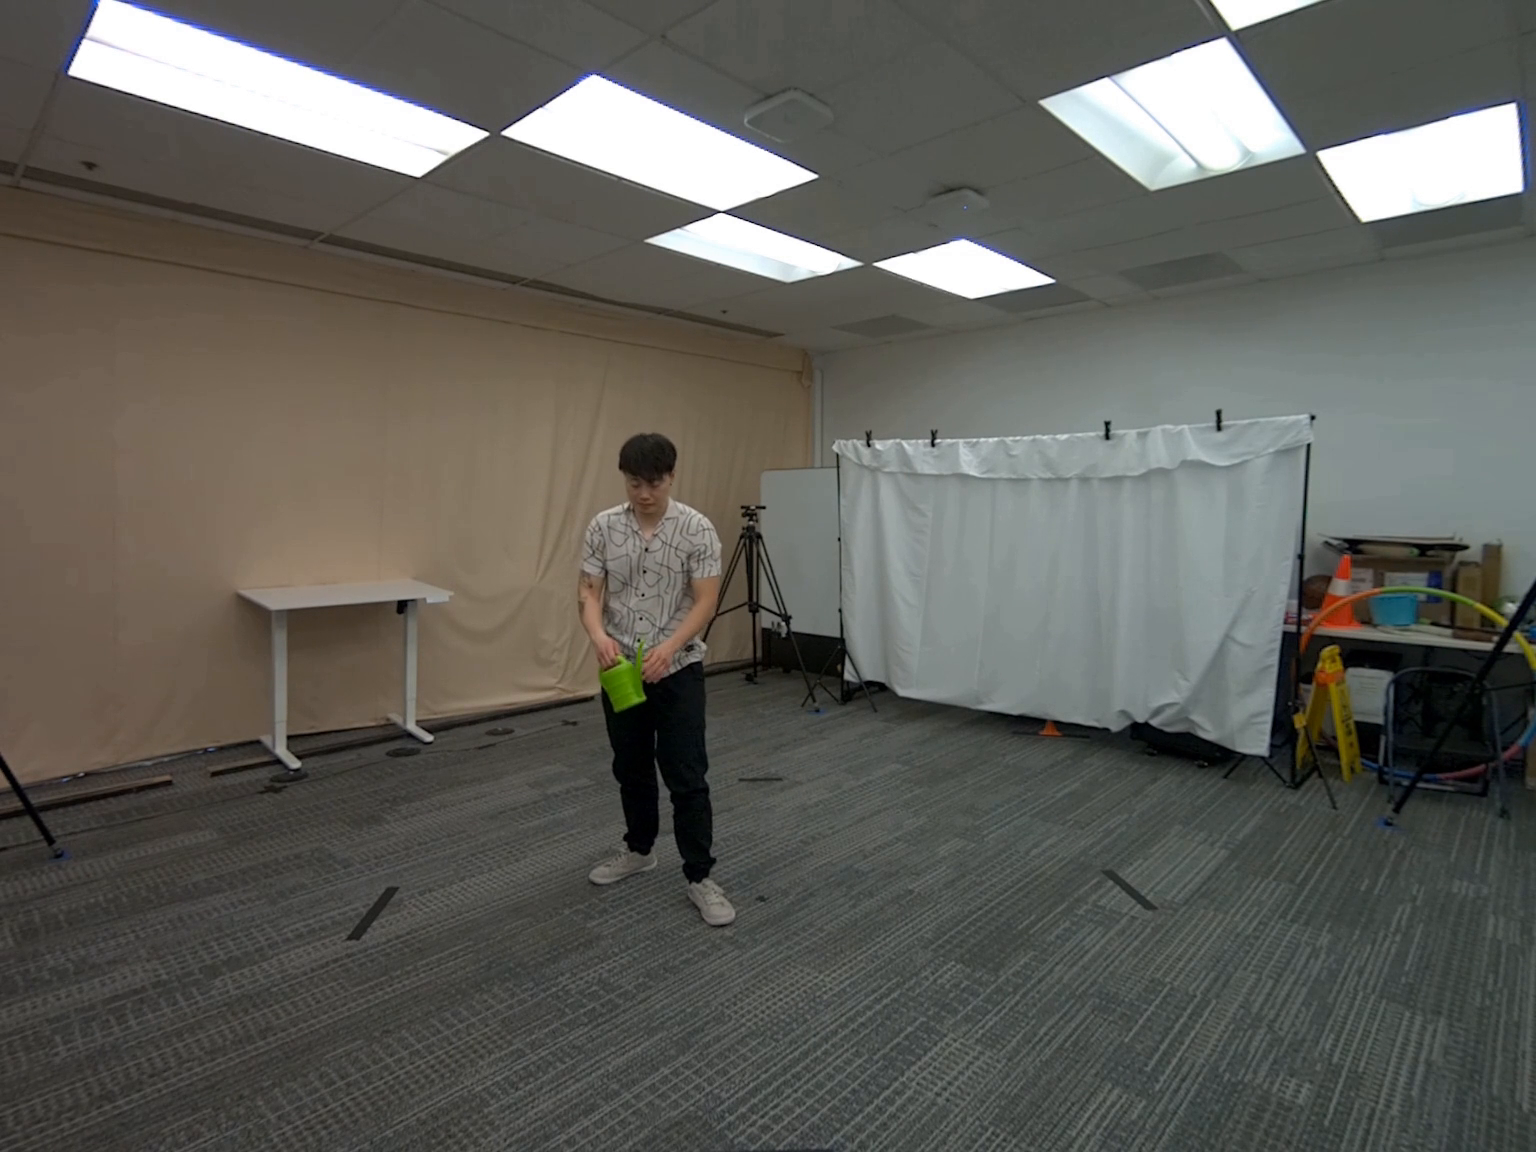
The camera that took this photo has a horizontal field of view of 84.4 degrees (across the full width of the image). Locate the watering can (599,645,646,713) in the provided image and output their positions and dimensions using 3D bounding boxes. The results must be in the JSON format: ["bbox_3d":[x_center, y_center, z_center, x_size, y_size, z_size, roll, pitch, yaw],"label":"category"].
[{"bbox_3d":[-0.462,0.335,2.717,0.096,0.178,0.282,-19,-9,-33],"label":"watering can"}]
